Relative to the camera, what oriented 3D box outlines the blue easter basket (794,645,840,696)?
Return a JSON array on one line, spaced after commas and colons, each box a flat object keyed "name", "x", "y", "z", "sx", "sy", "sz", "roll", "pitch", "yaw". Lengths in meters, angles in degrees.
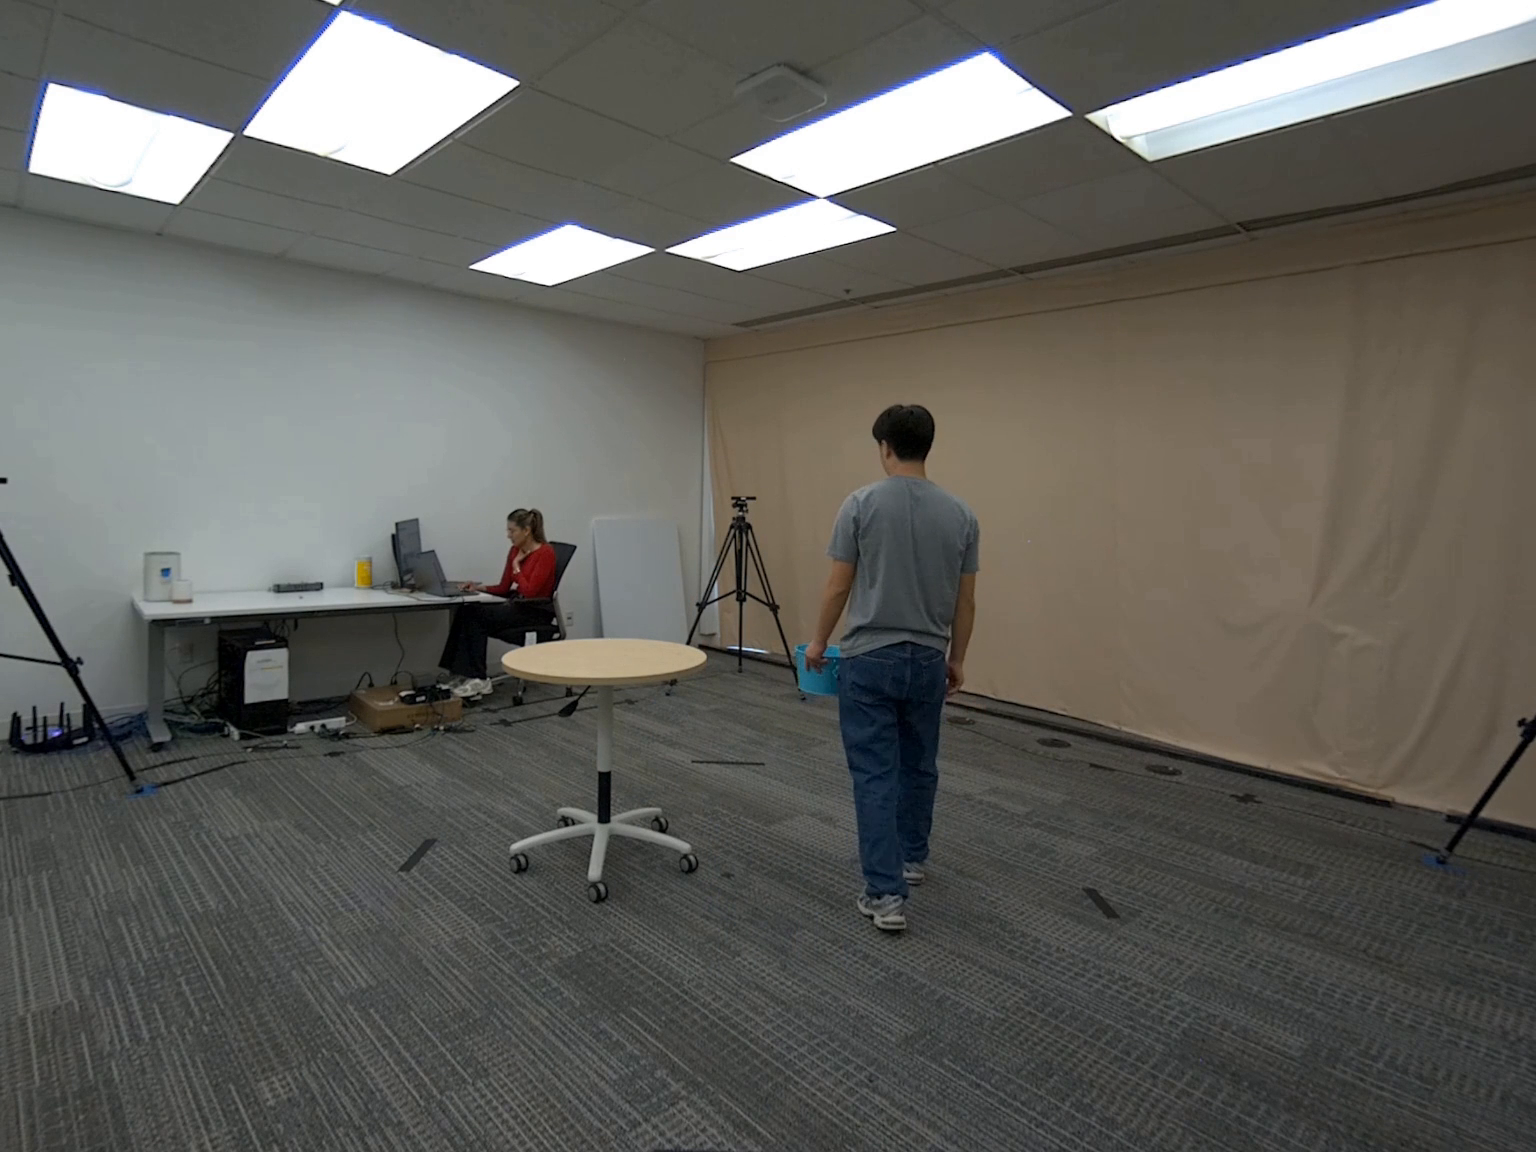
[{"name": "blue easter basket", "x": 0.206, "y": 0.355, "z": 3.239, "sx": 0.243, "sy": 0.155, "sz": 0.244, "roll": 5, "pitch": 5, "yaw": -2}]
